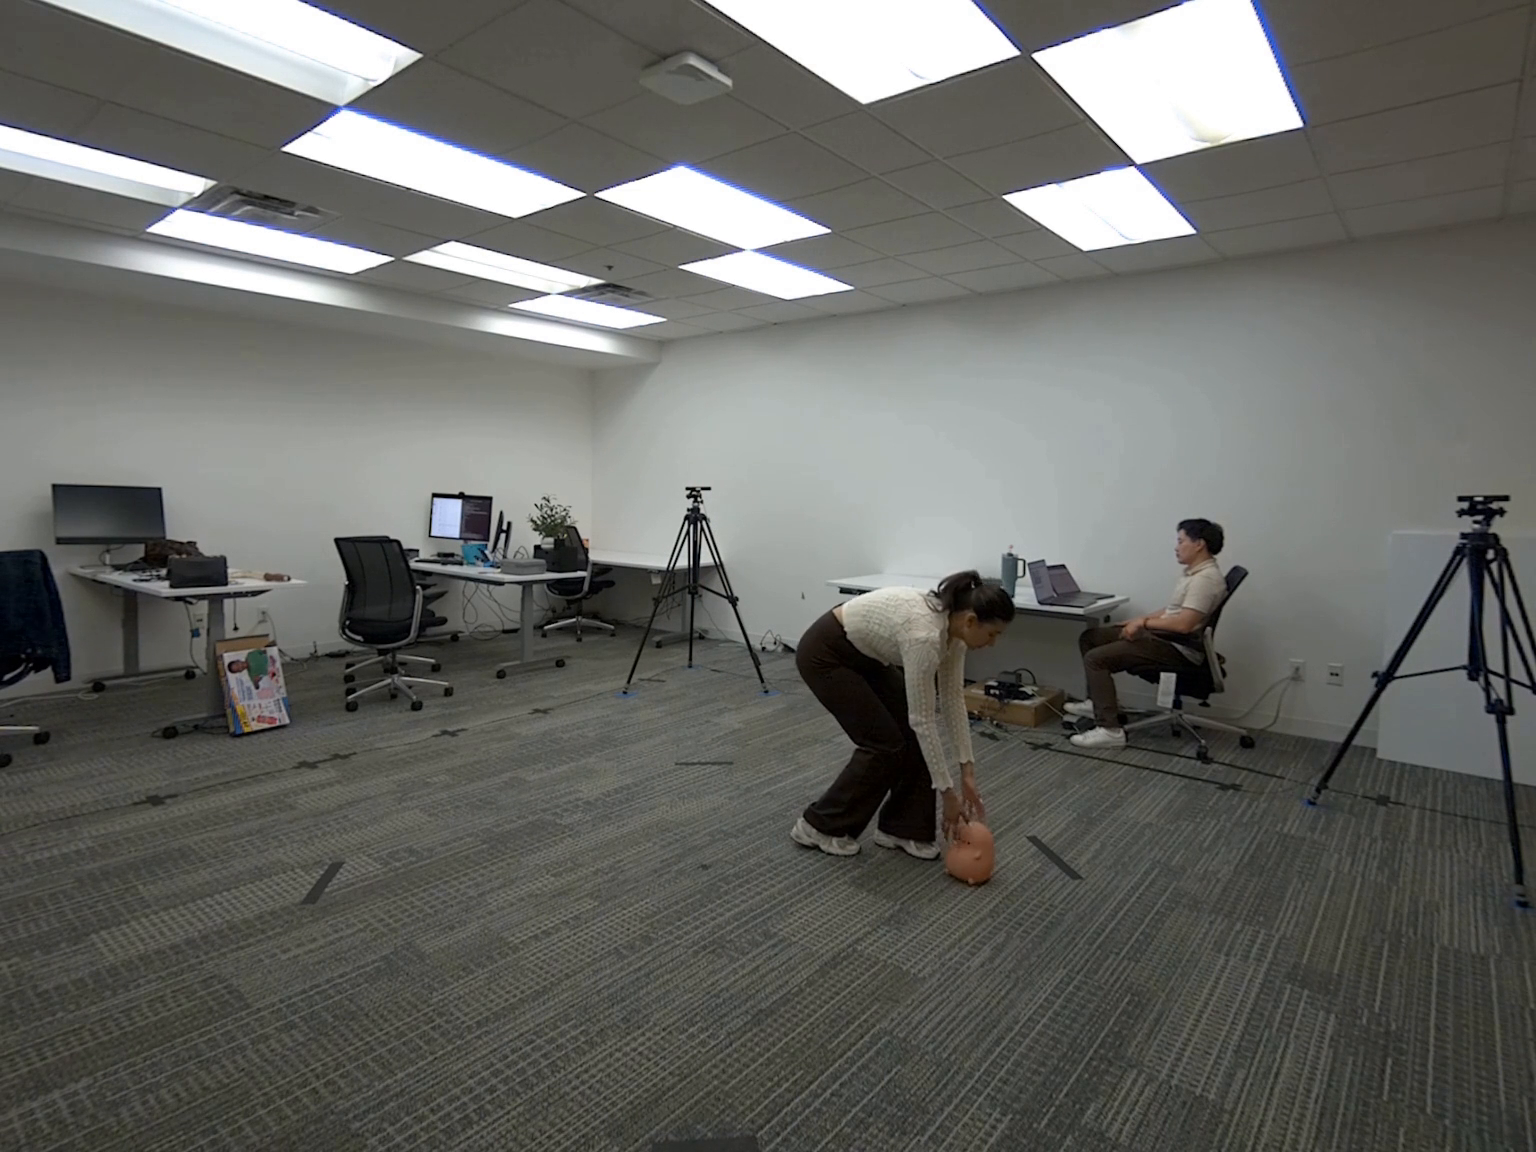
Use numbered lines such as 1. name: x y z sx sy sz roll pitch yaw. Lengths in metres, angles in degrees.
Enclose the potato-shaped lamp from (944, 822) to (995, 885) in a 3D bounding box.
1. potato-shaped lamp: 0.724 0.982 3.087 0.166 0.198 0.170 -2 3 -40
